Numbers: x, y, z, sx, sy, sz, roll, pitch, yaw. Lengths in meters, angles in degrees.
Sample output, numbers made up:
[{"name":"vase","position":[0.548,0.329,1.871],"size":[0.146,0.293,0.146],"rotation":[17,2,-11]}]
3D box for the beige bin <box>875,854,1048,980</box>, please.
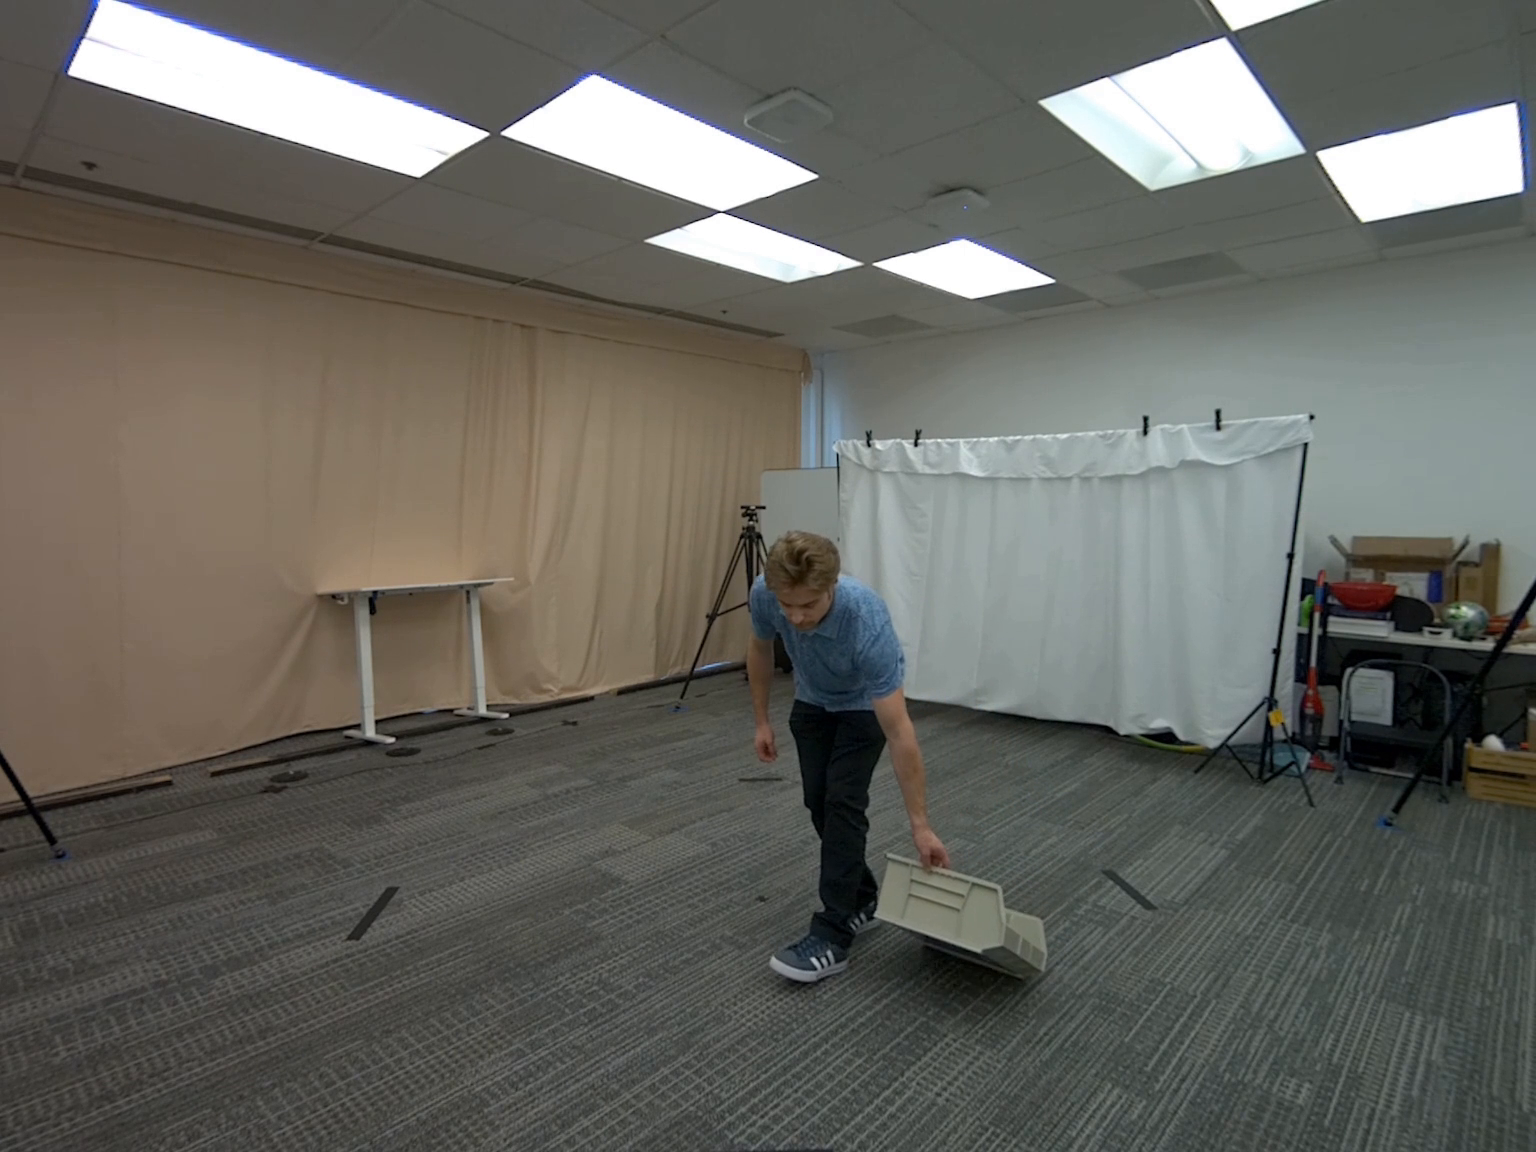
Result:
[{"name":"beige bin","position":[0.579,1.001,2.449],"size":[0.389,0.190,0.407],"rotation":[3,-27,36]}]
